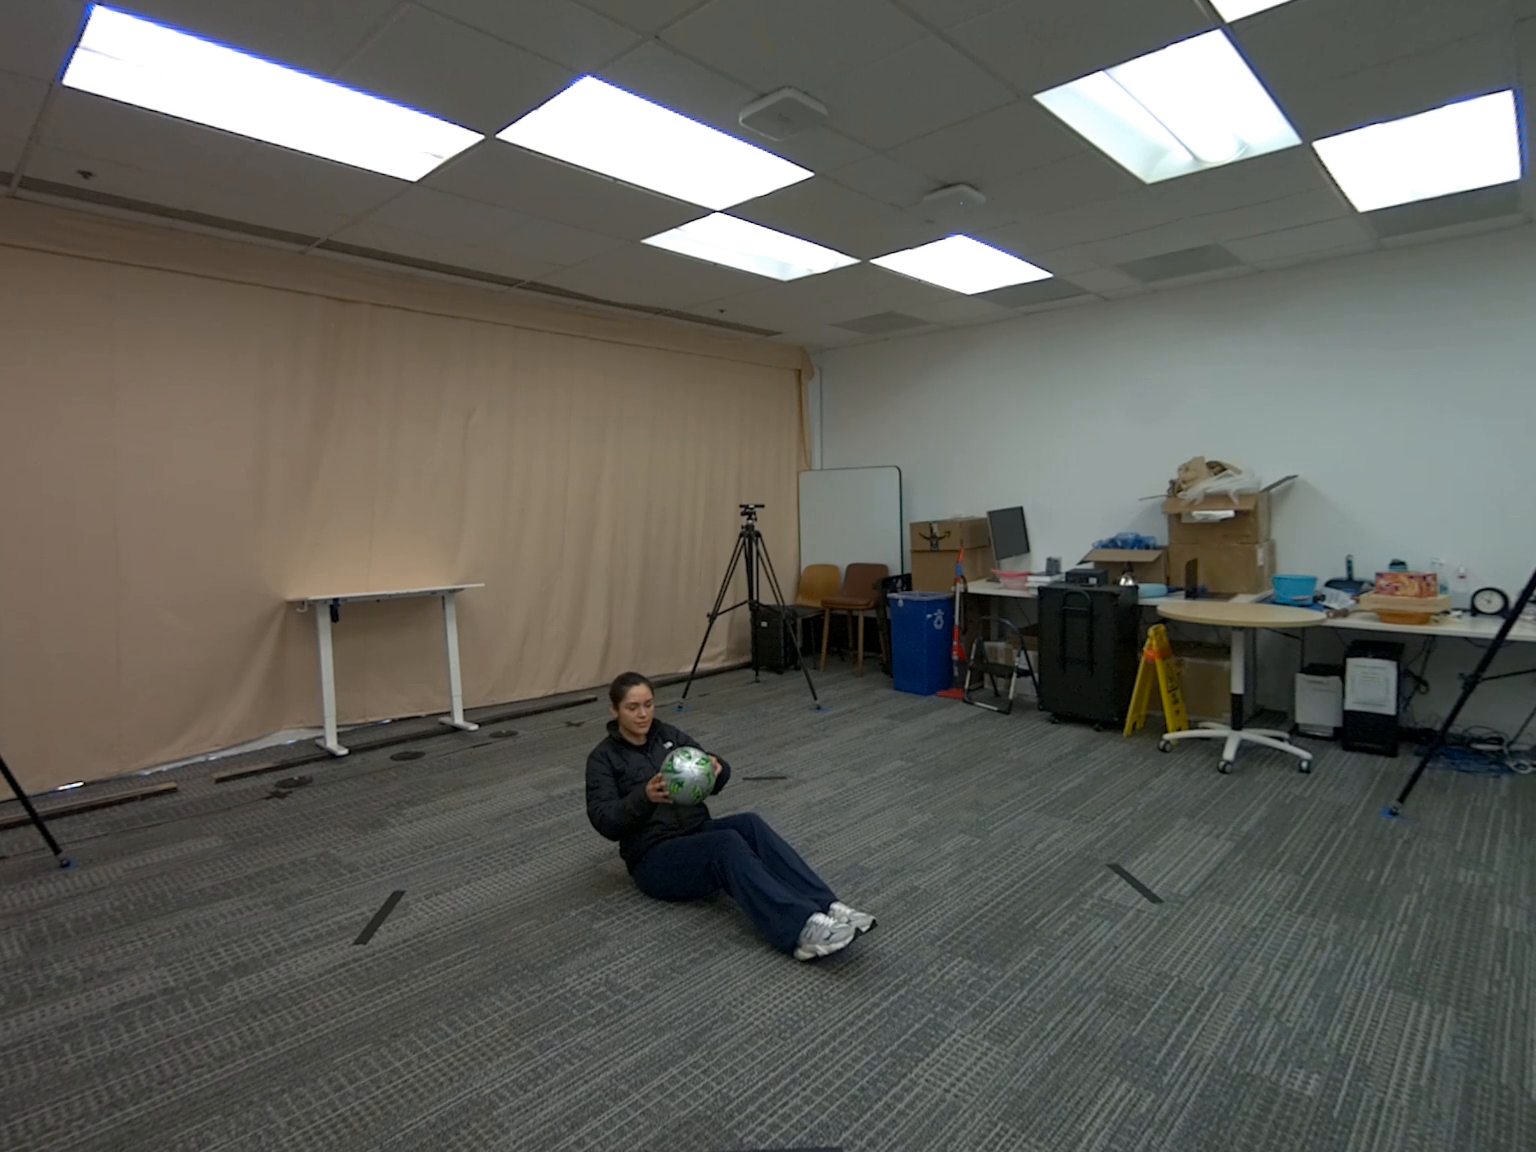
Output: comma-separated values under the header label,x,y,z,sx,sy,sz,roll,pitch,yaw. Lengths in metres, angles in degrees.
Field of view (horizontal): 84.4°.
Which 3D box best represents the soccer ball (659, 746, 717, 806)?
label,x,y,z,sx,sy,sz,roll,pitch,yaw
soccer ball,-0.267,0.668,2.792,0.187,0.187,0.188,2,5,-2
